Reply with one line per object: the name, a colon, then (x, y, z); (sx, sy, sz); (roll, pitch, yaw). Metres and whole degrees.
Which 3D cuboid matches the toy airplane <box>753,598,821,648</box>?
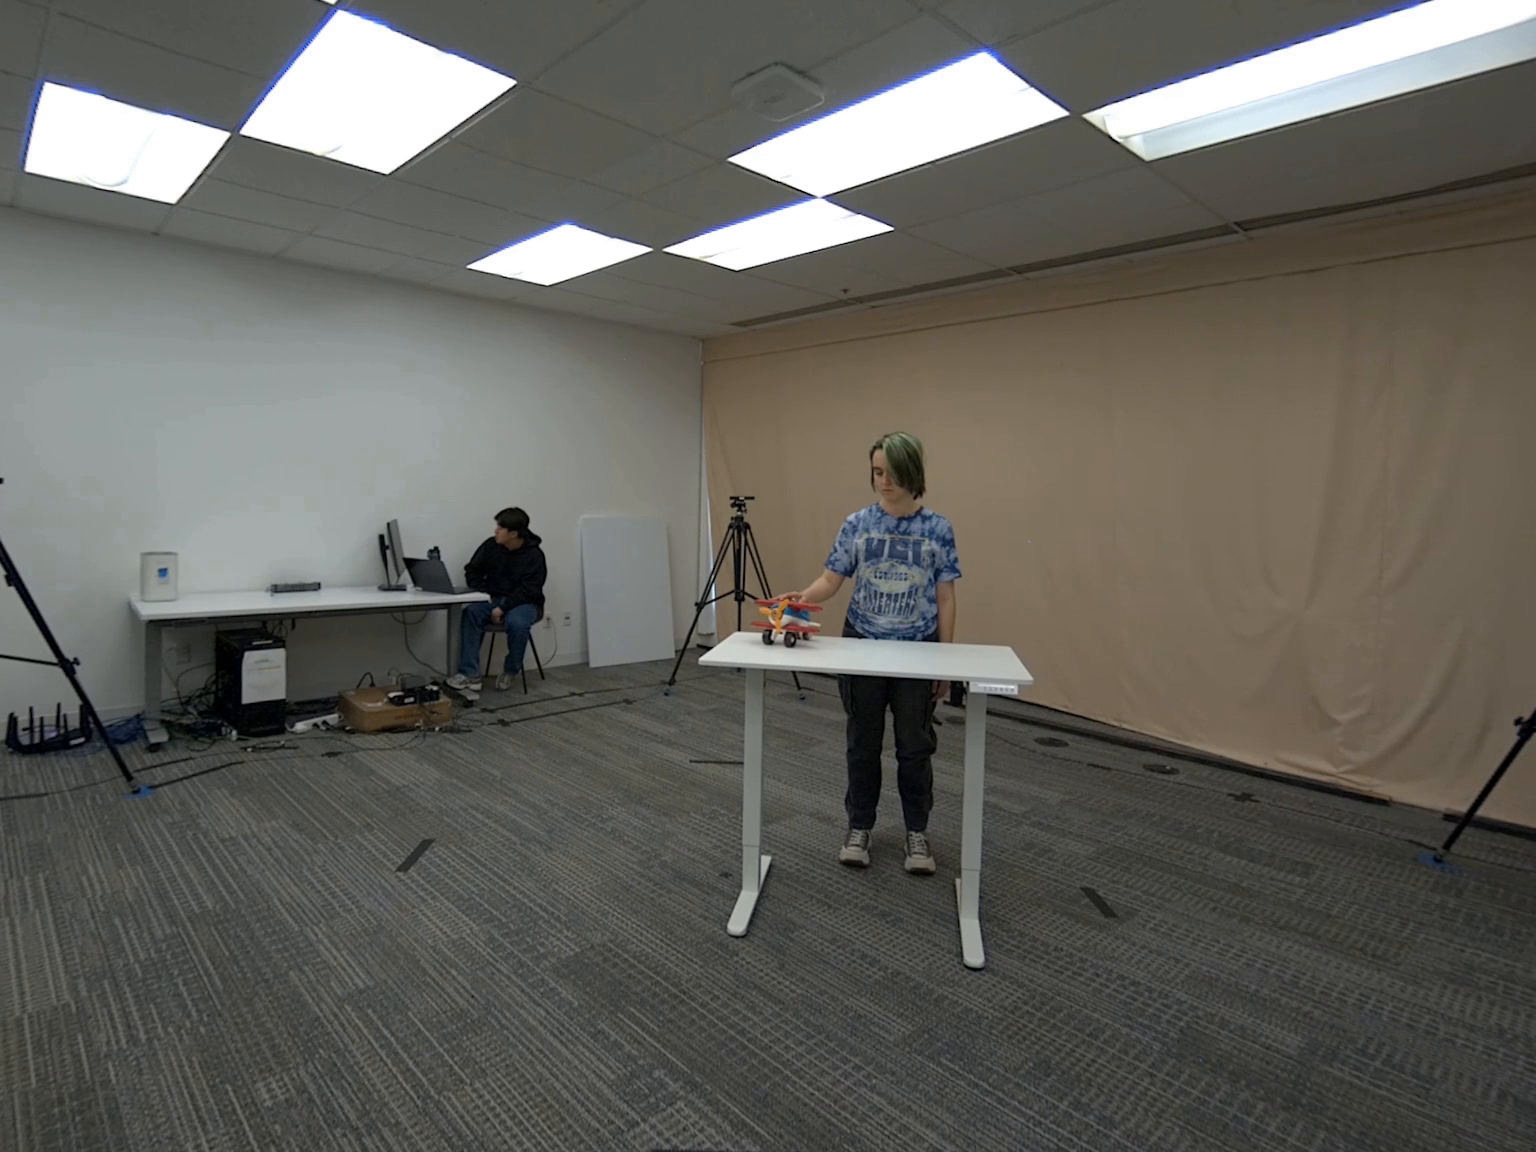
toy airplane: (0.059, 0.163, 2.995); (0.251, 0.156, 0.259); (1, 4, 1)
